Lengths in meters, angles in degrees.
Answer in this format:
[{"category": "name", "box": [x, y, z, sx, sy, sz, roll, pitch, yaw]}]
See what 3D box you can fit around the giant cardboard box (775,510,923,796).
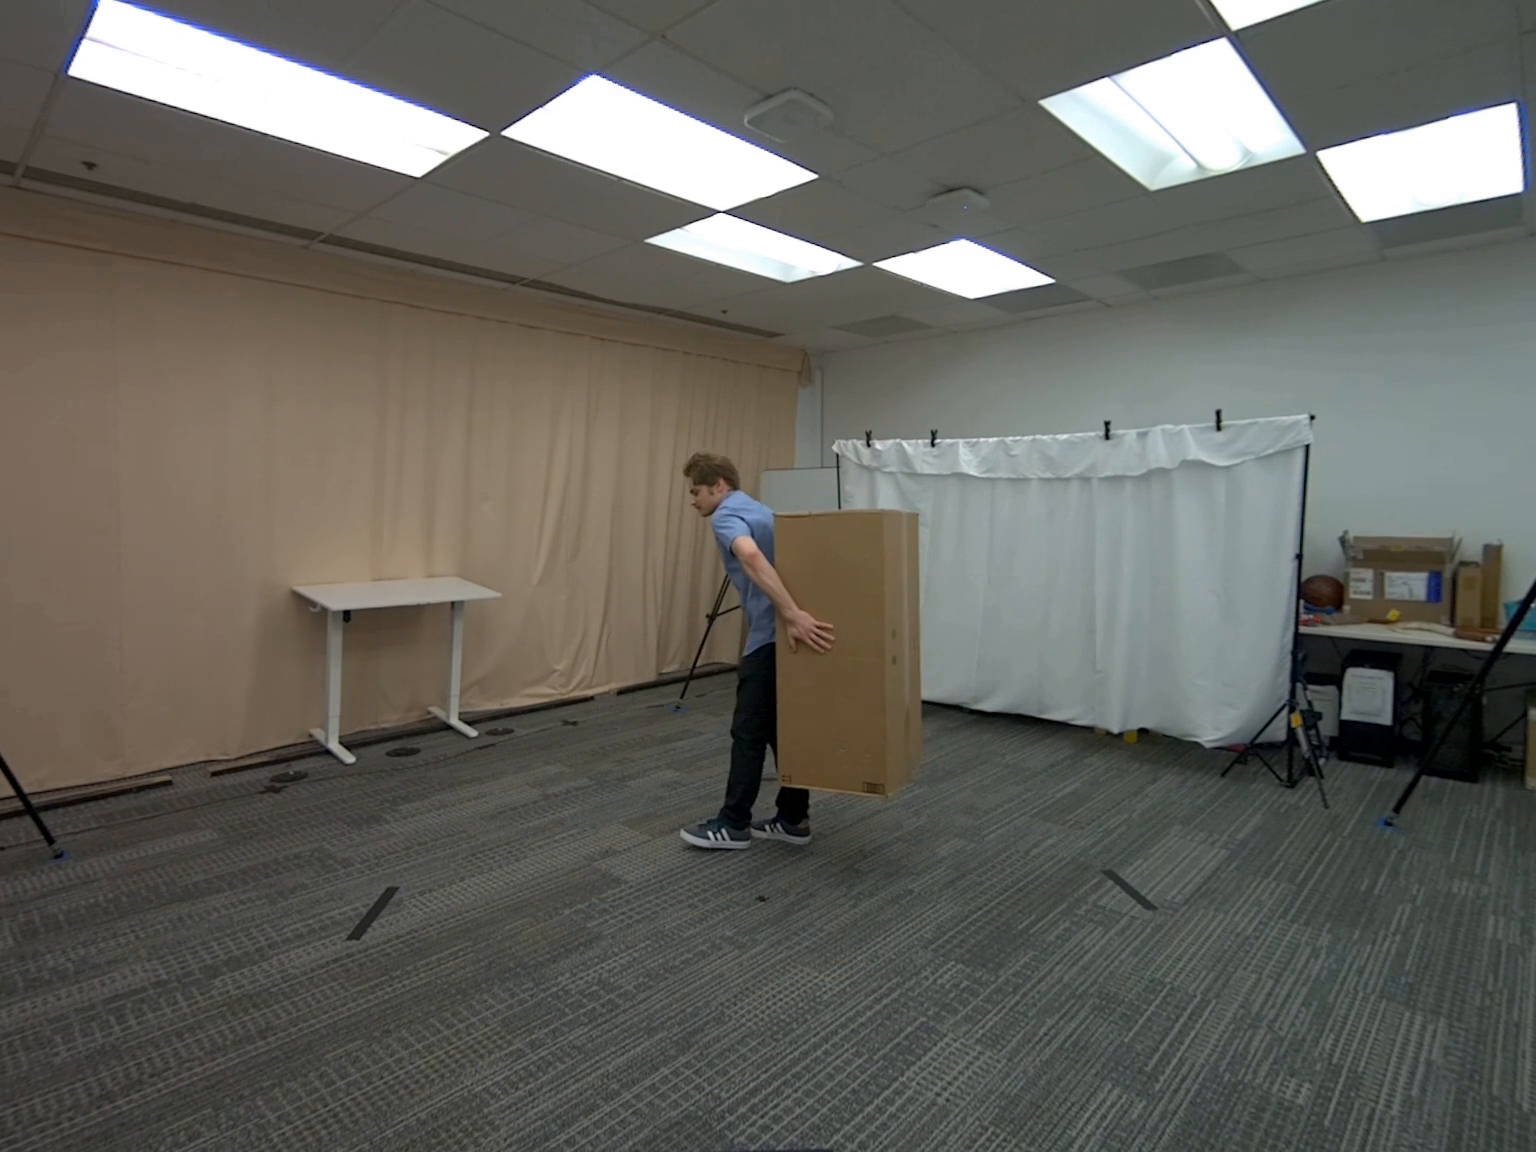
[{"category": "giant cardboard box", "box": [0.329, 0.267, 3.294, 0.457, 1.026, 0.570, 0, 1, 23]}]
